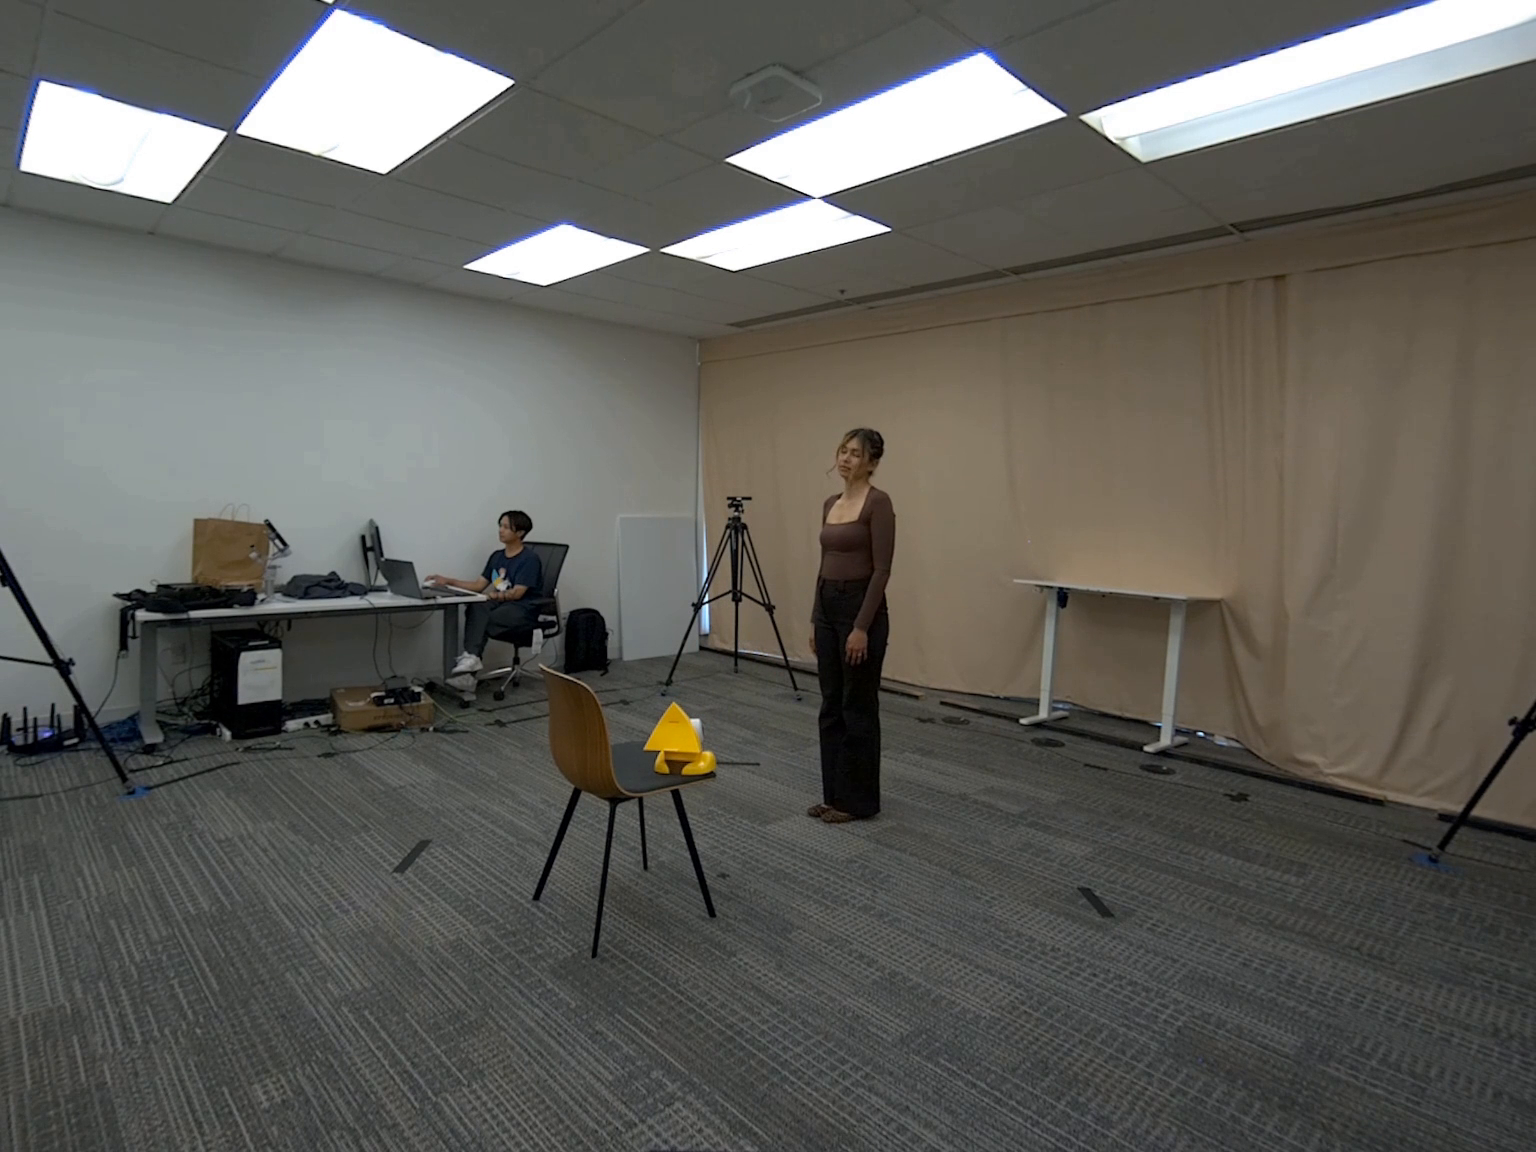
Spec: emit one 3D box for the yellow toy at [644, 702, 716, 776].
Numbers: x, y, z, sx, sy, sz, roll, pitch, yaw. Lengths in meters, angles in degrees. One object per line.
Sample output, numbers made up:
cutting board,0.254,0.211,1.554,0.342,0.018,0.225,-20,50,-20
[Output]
yellow toy,-0.285,0.532,2.796,0.208,0.231,0.190,-2,0,22
